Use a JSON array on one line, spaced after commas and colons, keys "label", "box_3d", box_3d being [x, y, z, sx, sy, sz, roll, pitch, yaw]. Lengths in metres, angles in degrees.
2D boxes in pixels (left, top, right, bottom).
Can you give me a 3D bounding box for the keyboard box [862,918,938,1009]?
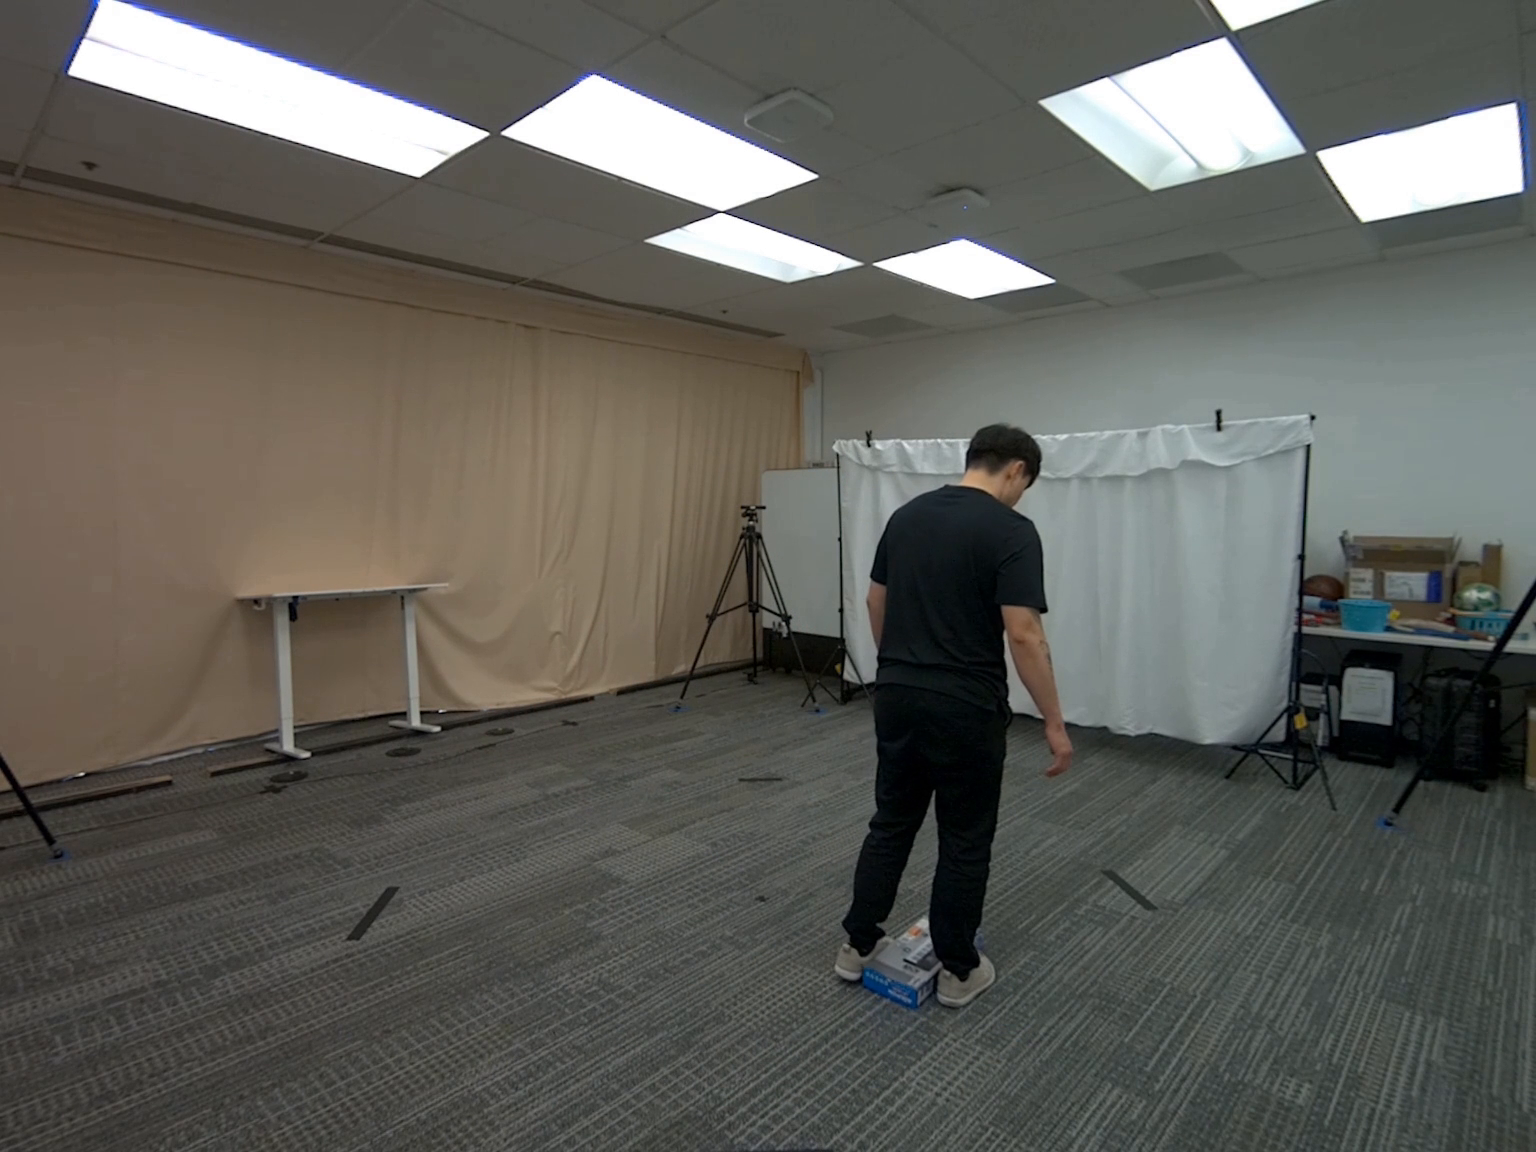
[{"label": "keyboard box", "box_3d": [0.477, 1.149, 2.536, 0.182, 0.059, 0.424, 6, 8, 38]}]
